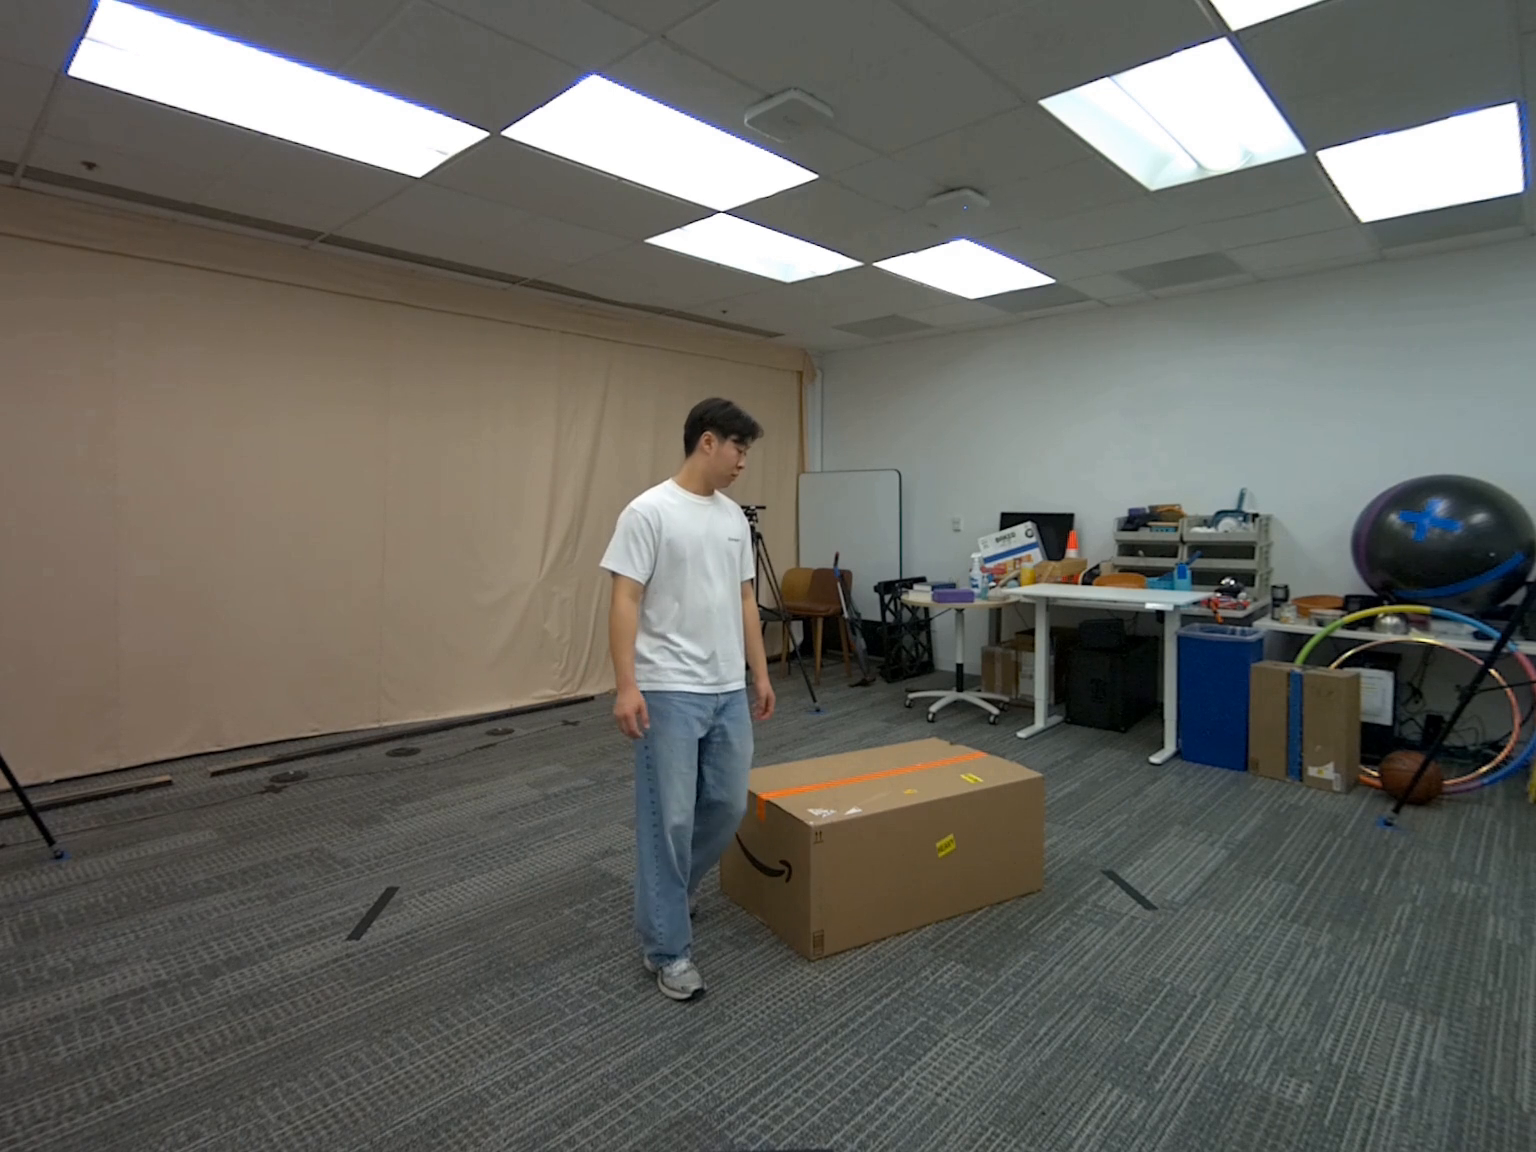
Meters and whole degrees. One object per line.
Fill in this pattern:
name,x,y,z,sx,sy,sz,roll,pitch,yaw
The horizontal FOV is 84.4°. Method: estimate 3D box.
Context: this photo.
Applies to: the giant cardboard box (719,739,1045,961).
giant cardboard box,0.414,0.923,3.044,0.999,0.425,0.594,-3,5,-30
